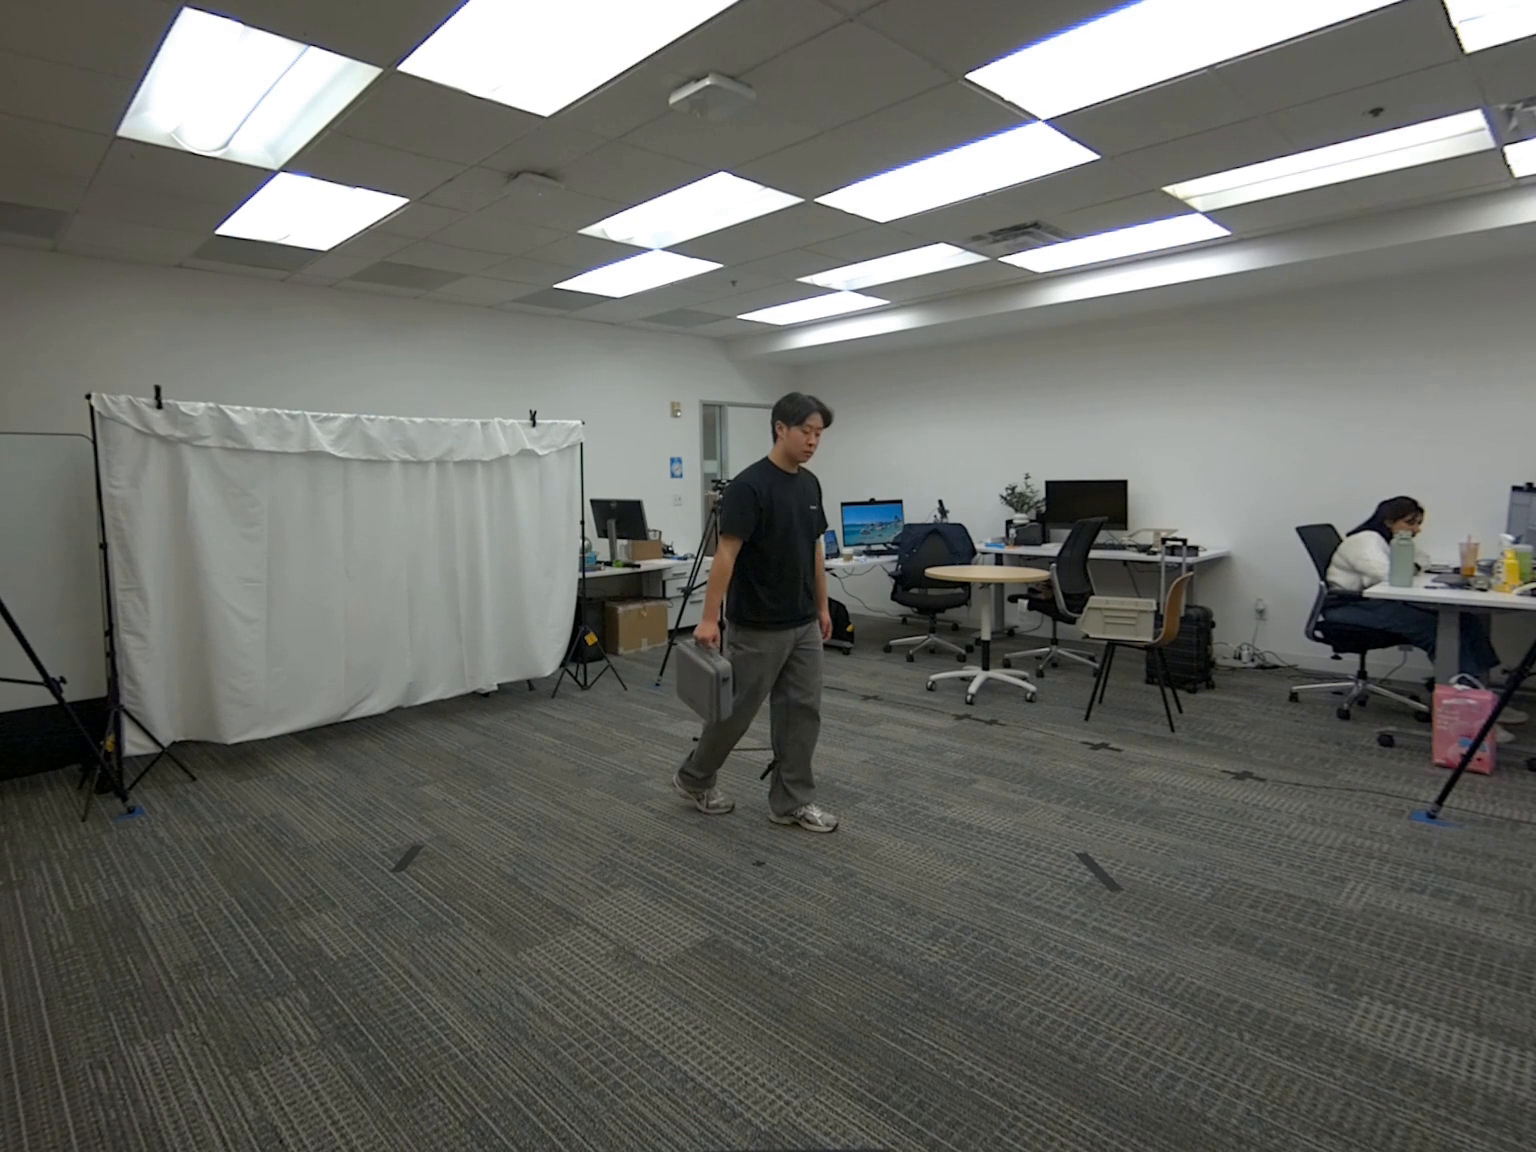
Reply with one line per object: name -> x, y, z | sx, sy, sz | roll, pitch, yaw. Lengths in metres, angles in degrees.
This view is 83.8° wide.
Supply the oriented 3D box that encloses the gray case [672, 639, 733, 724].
gray case -> -0.234, 0.387, 3.220 | 0.101, 0.282, 0.273 | -15, 30, -35
